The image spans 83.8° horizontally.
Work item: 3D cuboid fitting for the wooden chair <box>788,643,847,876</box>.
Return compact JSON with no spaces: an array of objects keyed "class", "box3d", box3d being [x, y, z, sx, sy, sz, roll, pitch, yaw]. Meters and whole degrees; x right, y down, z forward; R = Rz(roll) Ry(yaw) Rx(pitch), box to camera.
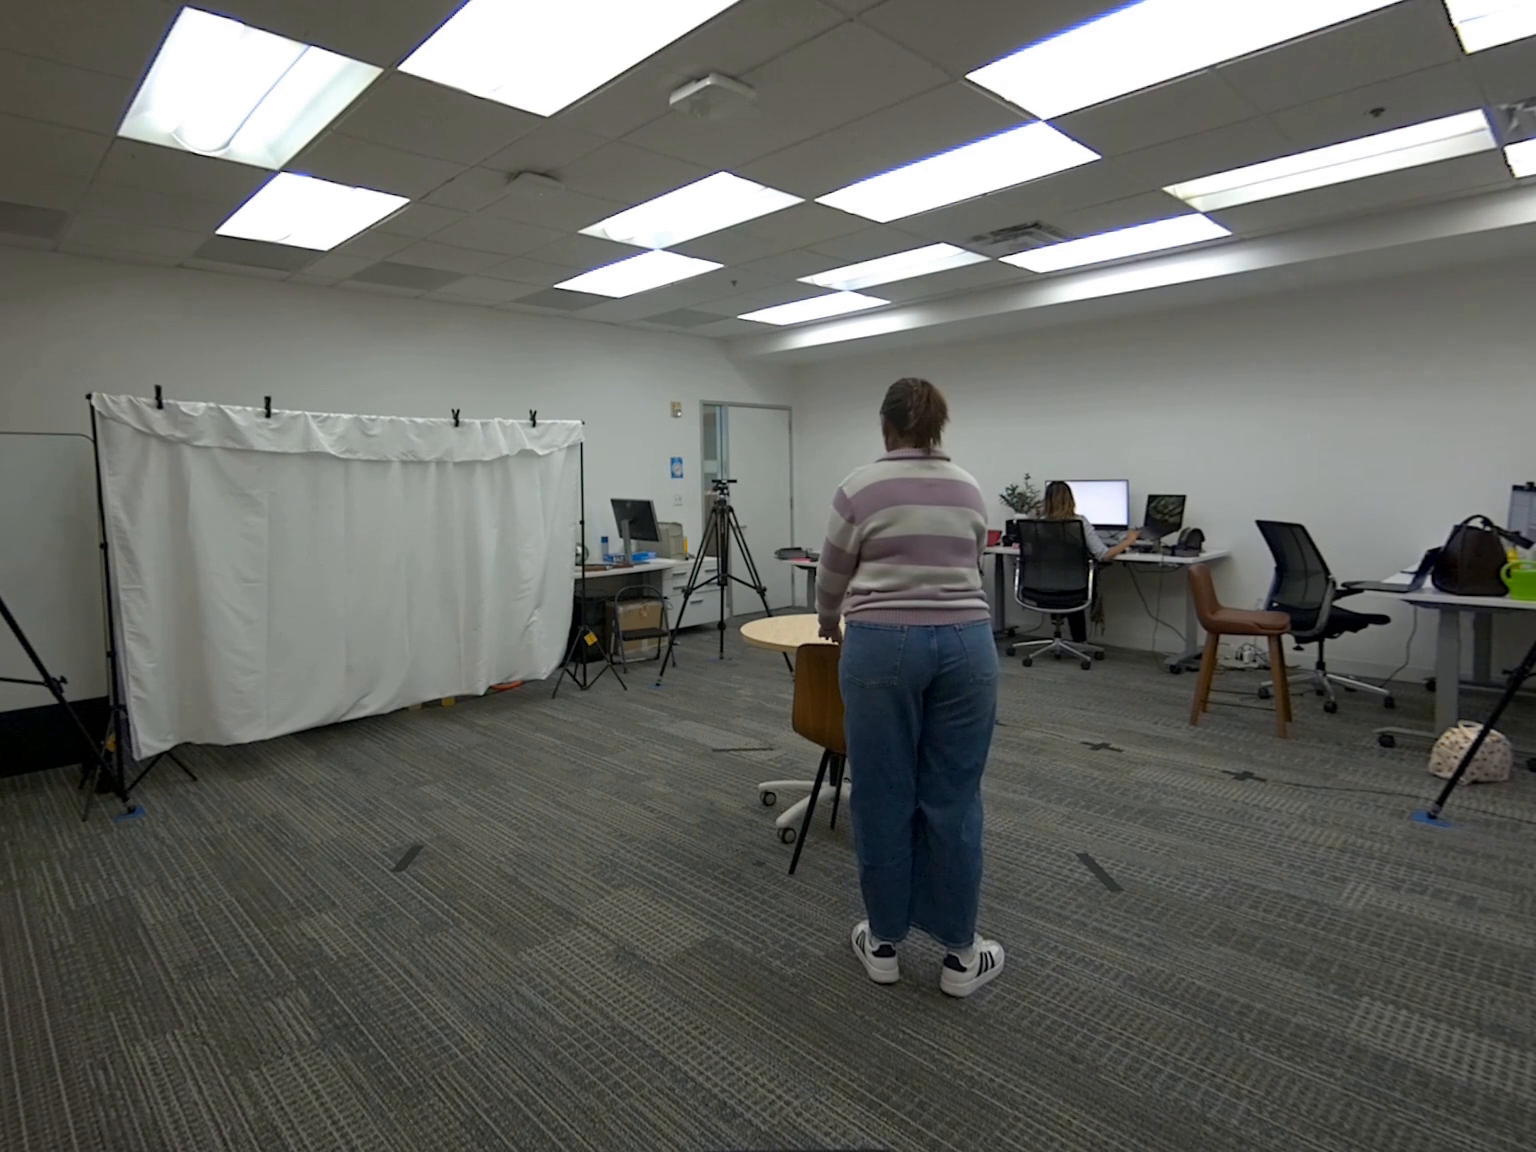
[{"class":"wooden chair","box3d":[0.361,0.616,3.093,0.490,0.871,0.514,1,8,27]}]
